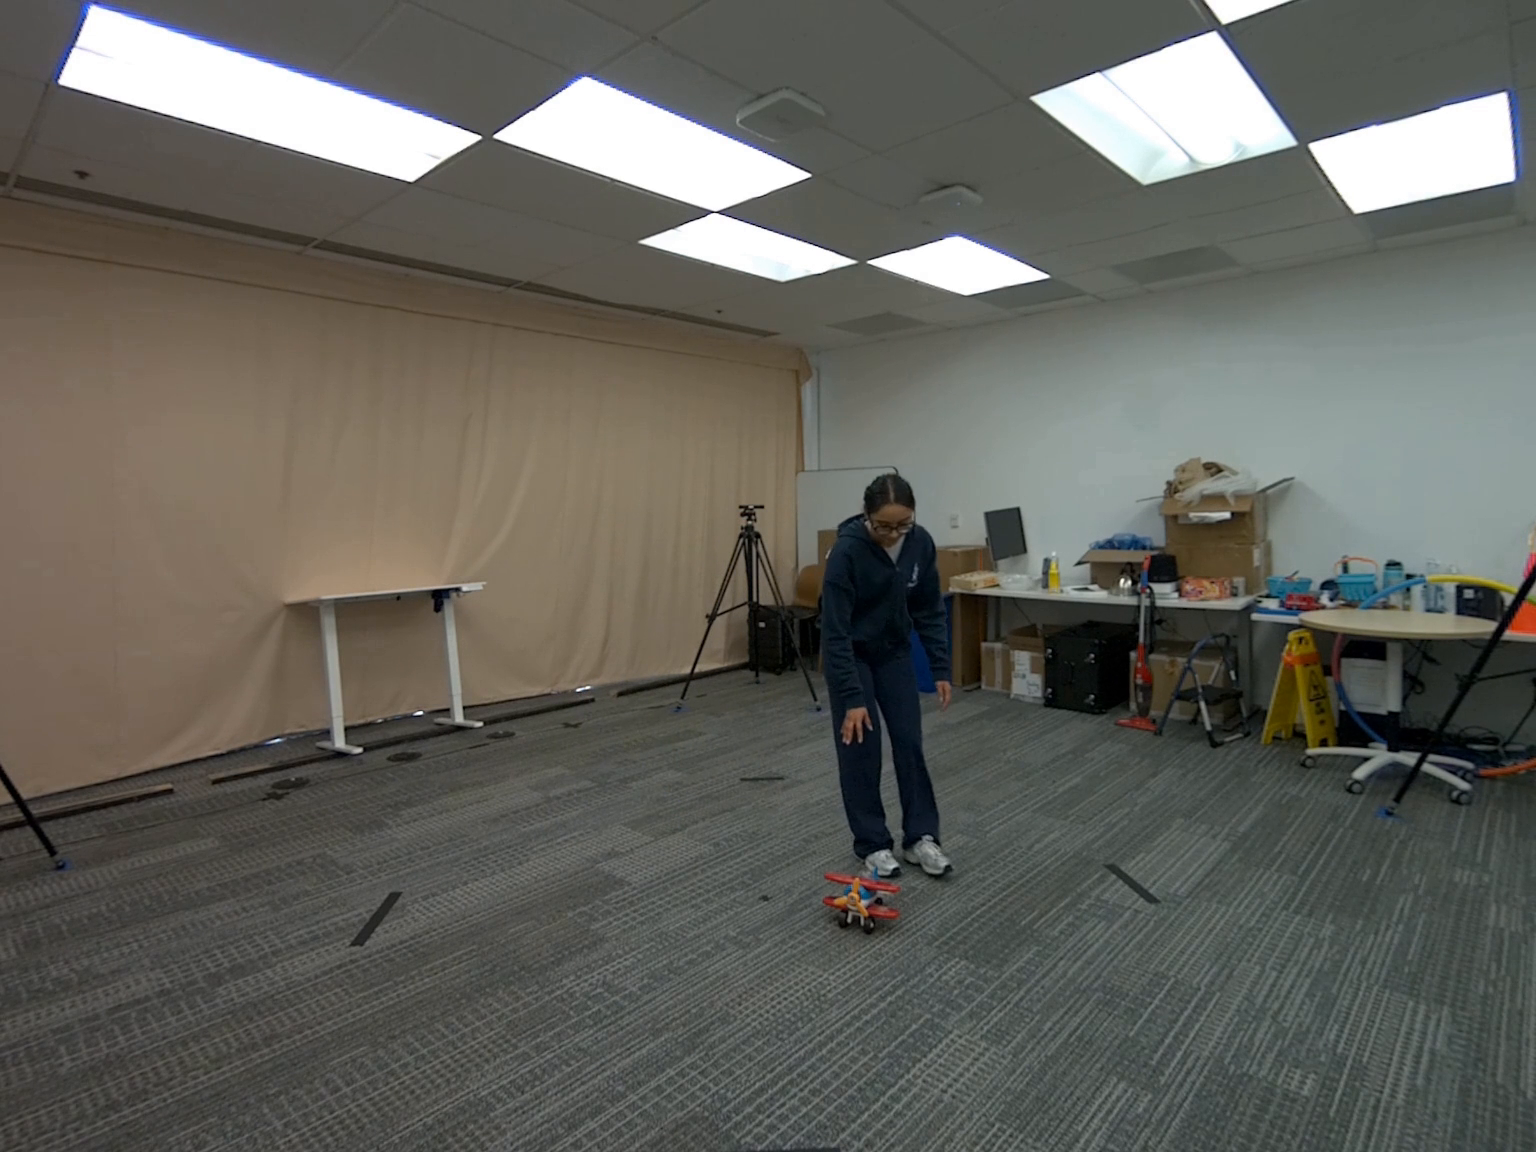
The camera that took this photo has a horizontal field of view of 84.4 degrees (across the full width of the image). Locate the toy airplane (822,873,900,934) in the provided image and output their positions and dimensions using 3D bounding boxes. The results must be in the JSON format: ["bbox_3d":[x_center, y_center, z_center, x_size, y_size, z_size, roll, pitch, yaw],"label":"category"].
[{"bbox_3d":[0.310,1.075,2.822,0.250,0.156,0.261,0,5,-4],"label":"toy airplane"}]
